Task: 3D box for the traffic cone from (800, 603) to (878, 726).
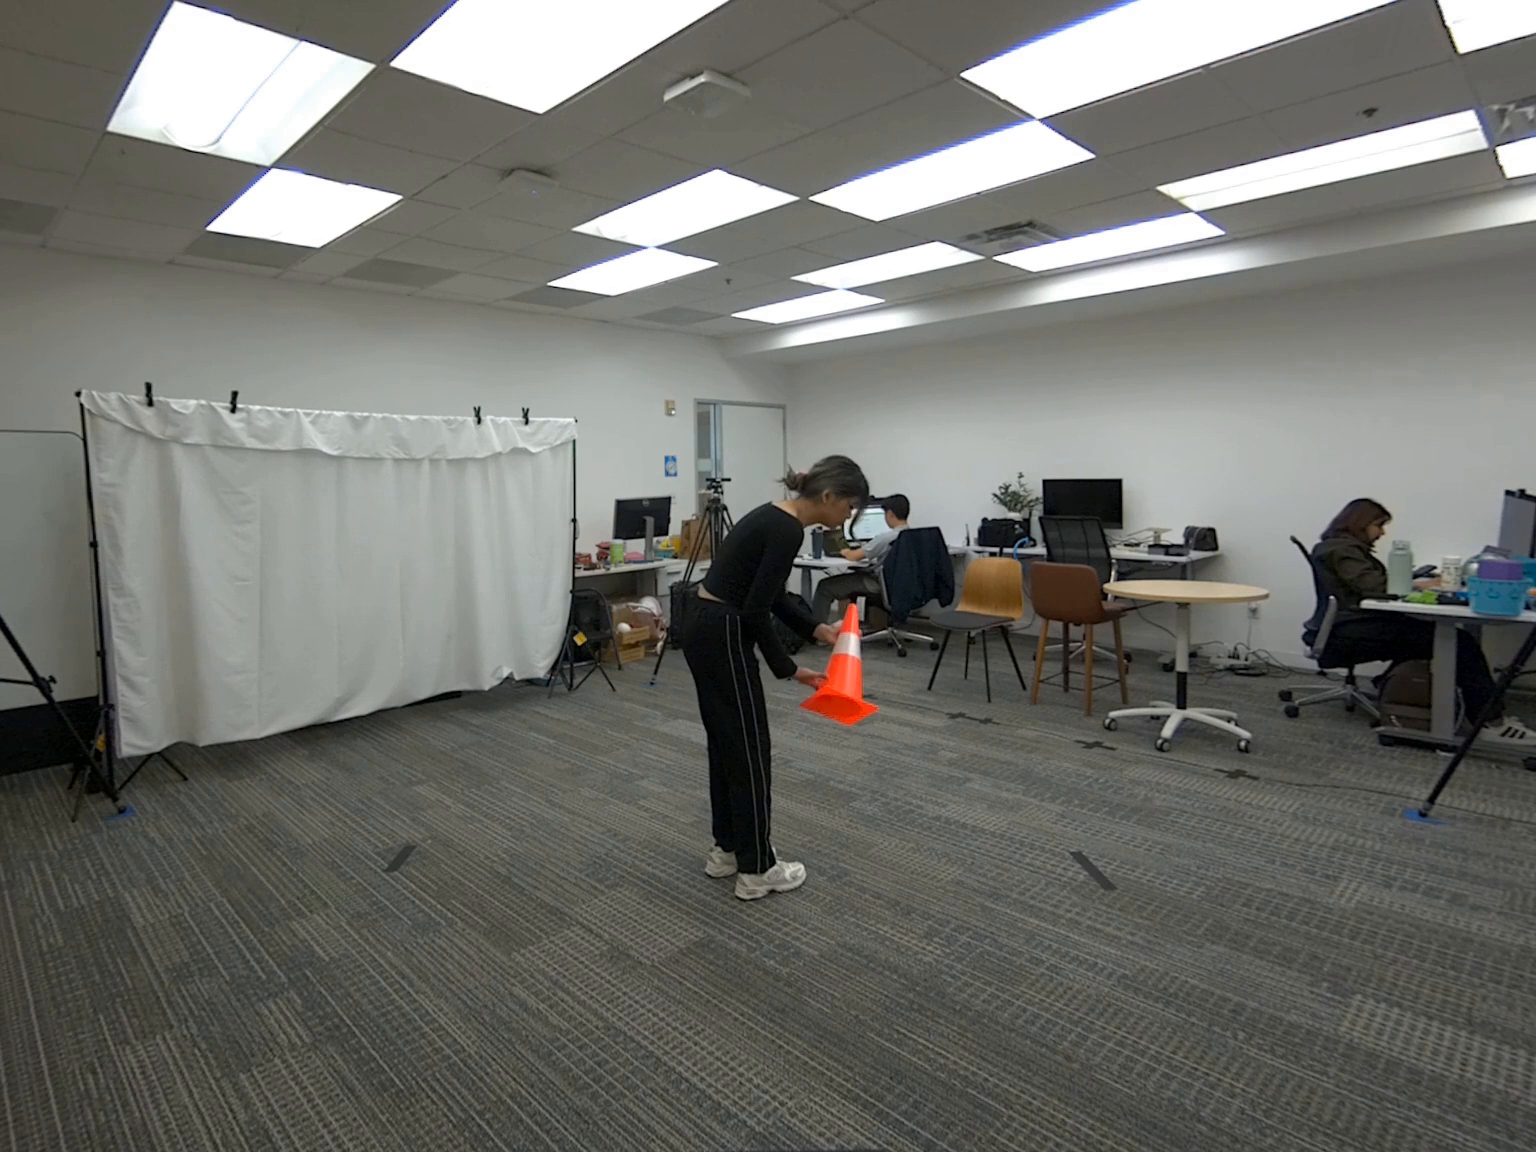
[{"bbox_3d":[0.256,0.272,2.861,0.201,0.391,0.203,23,-34,-16],"label":"traffic cone"}]
